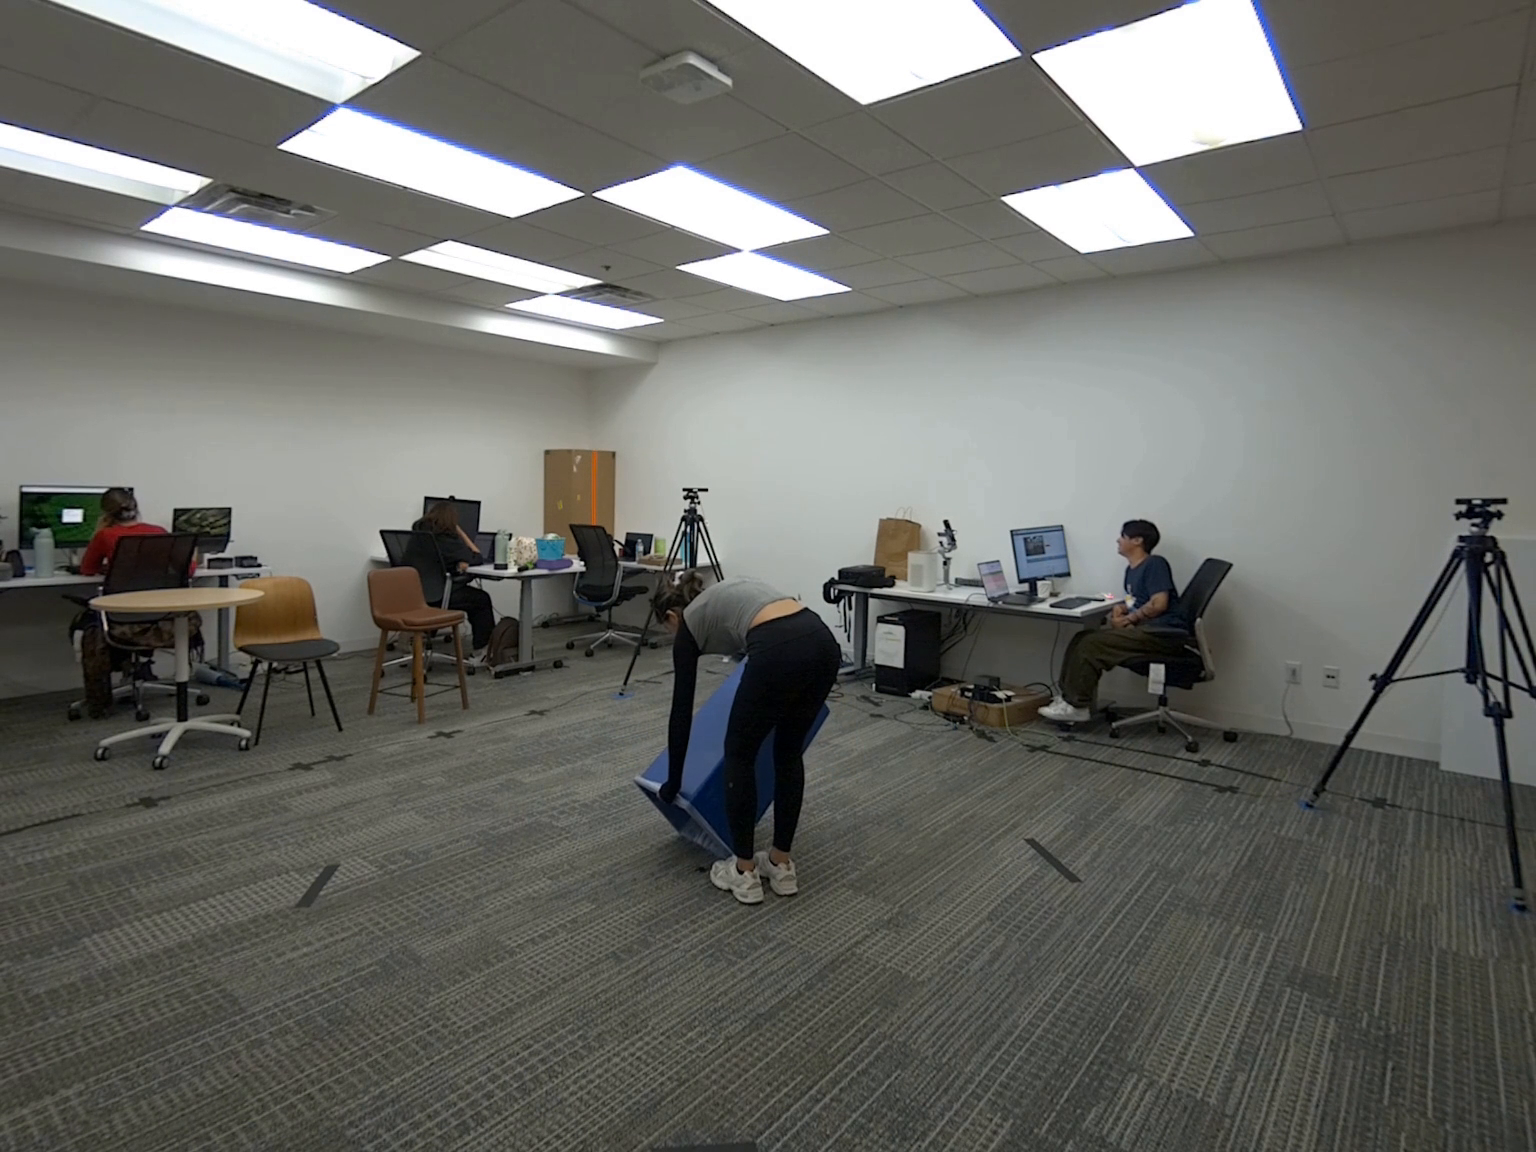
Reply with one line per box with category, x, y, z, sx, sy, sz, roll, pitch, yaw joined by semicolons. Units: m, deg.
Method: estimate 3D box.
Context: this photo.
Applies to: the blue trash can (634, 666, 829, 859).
blue trash can;-0.132;0.676;3.363;0.390;0.362;0.714;3;46;51
